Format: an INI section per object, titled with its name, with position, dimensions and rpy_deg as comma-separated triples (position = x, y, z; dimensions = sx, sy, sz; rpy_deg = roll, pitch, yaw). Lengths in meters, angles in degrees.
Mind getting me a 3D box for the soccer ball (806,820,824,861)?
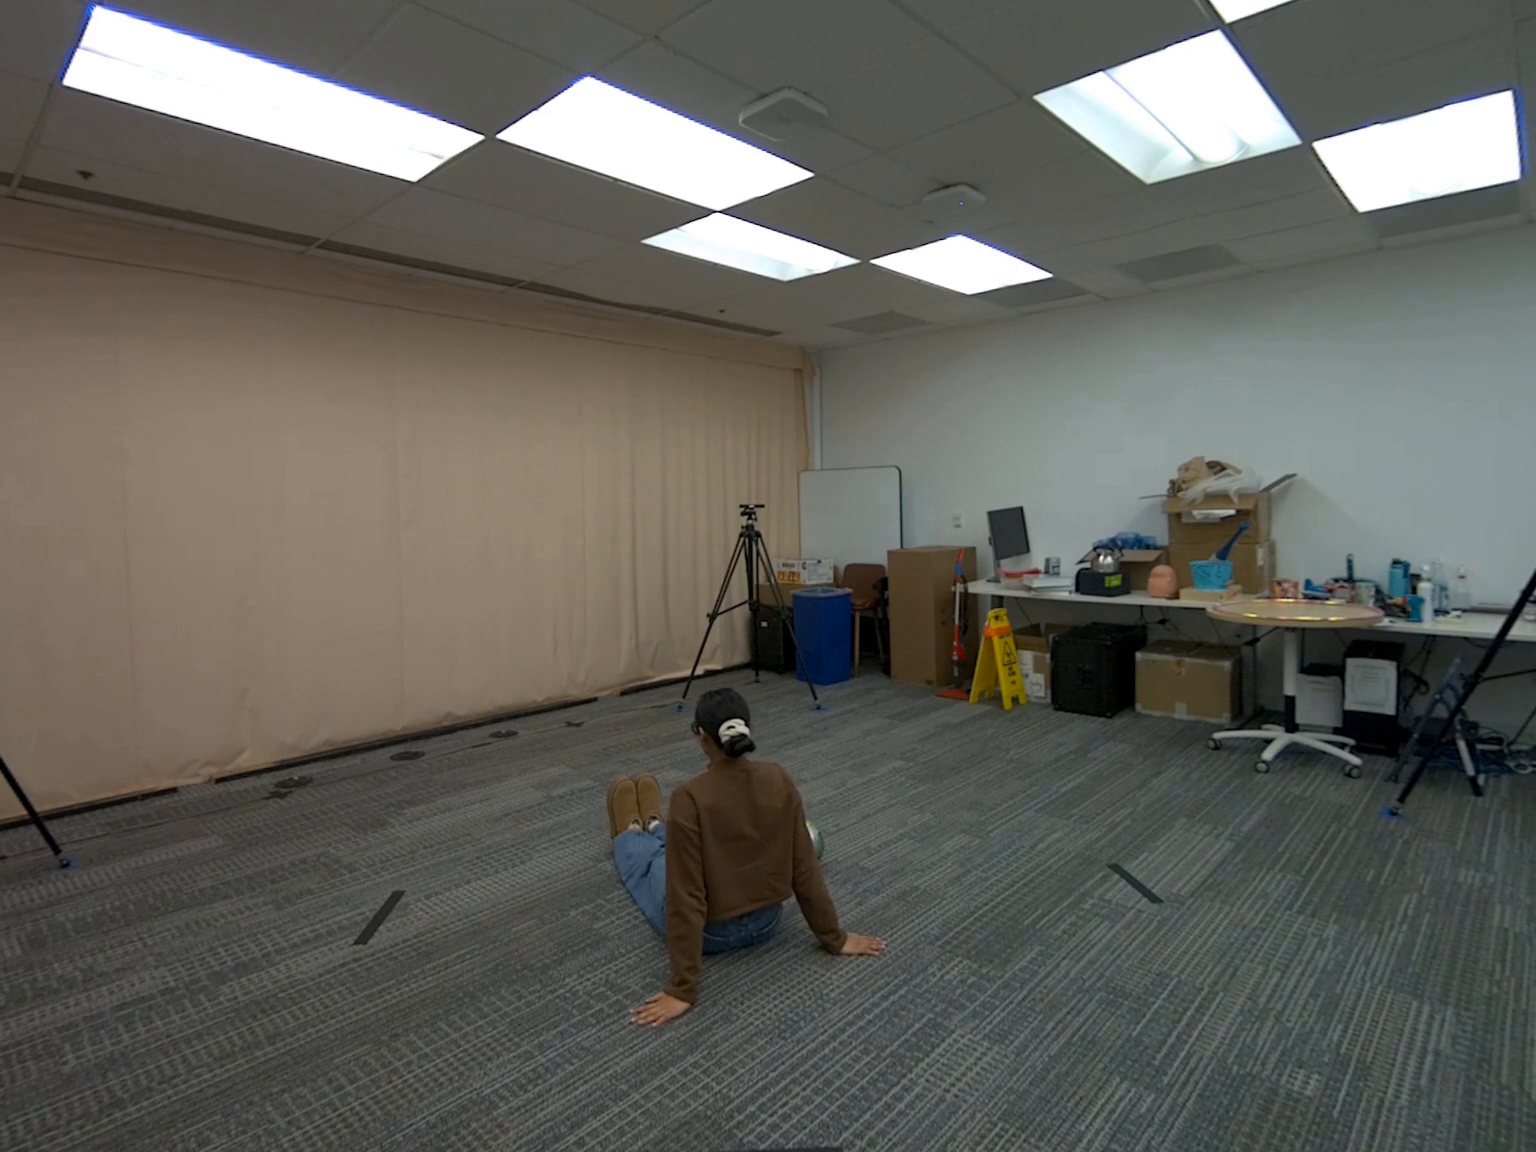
[soccer ball]
position = 0.129, 1.019, 3.215
dimensions = 0.187, 0.187, 0.188
rpy_deg = -1, 4, -2
